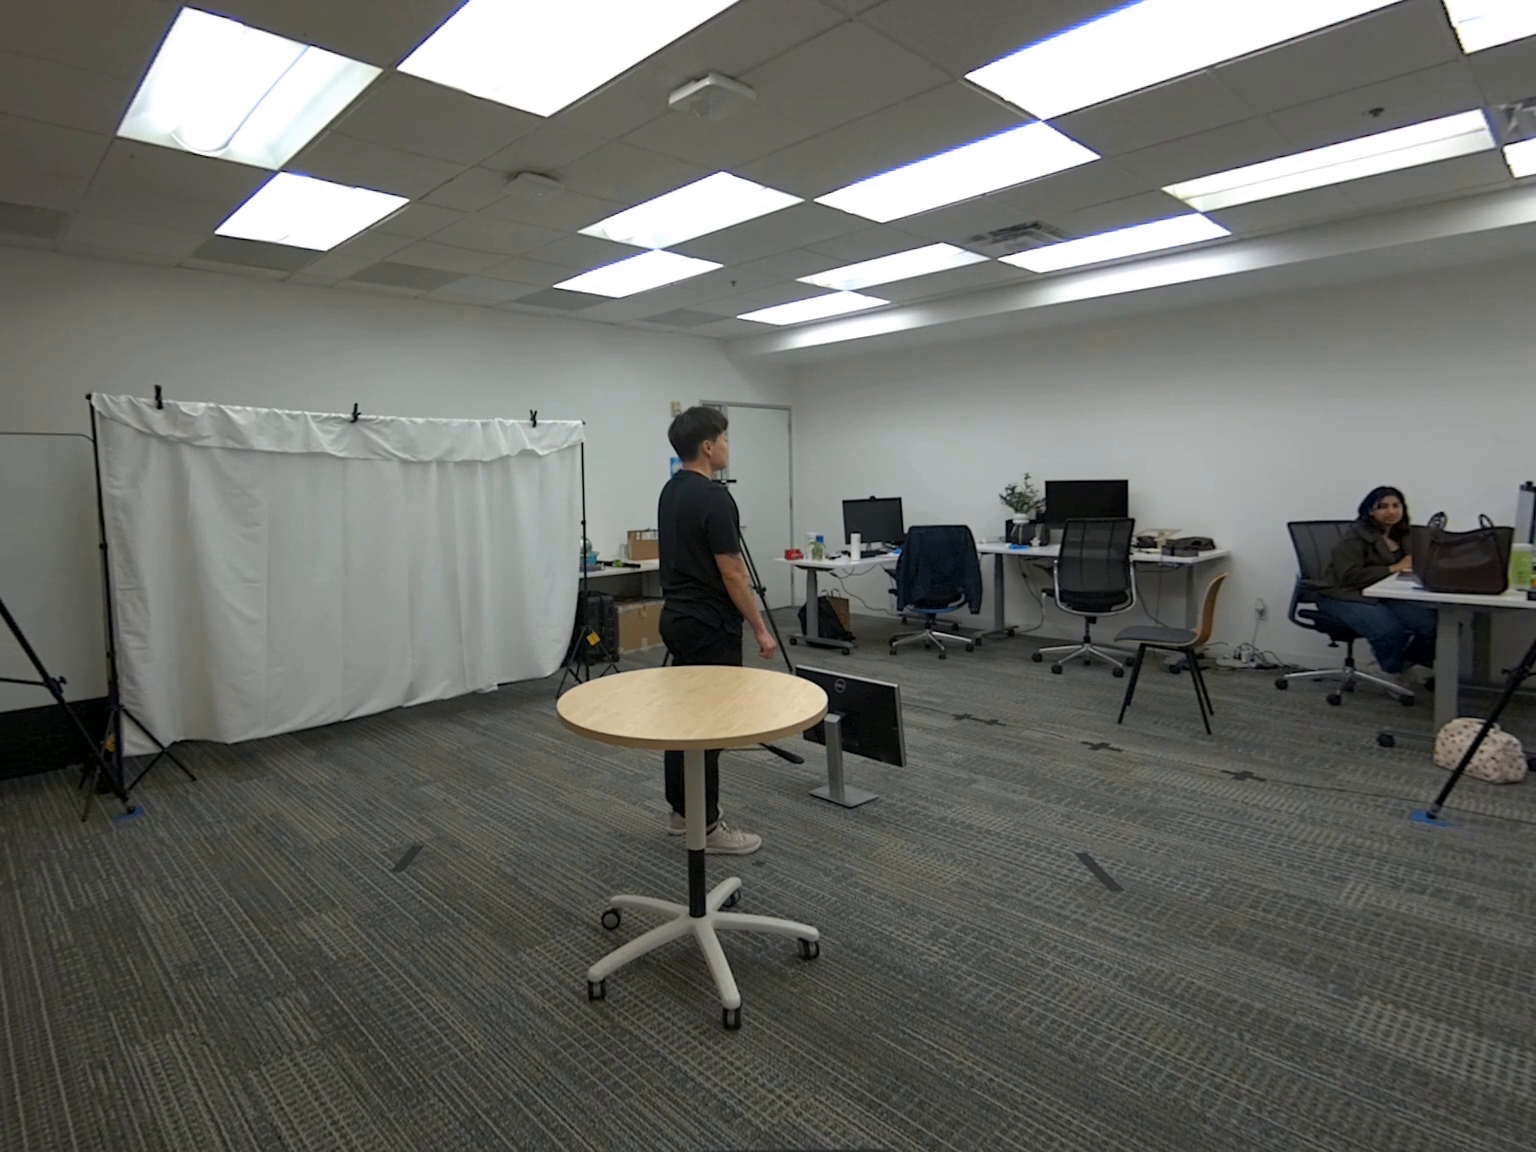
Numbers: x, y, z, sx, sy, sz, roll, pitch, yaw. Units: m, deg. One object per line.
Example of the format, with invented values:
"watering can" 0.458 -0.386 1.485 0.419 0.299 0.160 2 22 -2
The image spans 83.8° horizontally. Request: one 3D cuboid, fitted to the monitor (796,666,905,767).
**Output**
"monitor" 0.331 0.706 3.752 0.556 0.522 0.182 4 3 43
